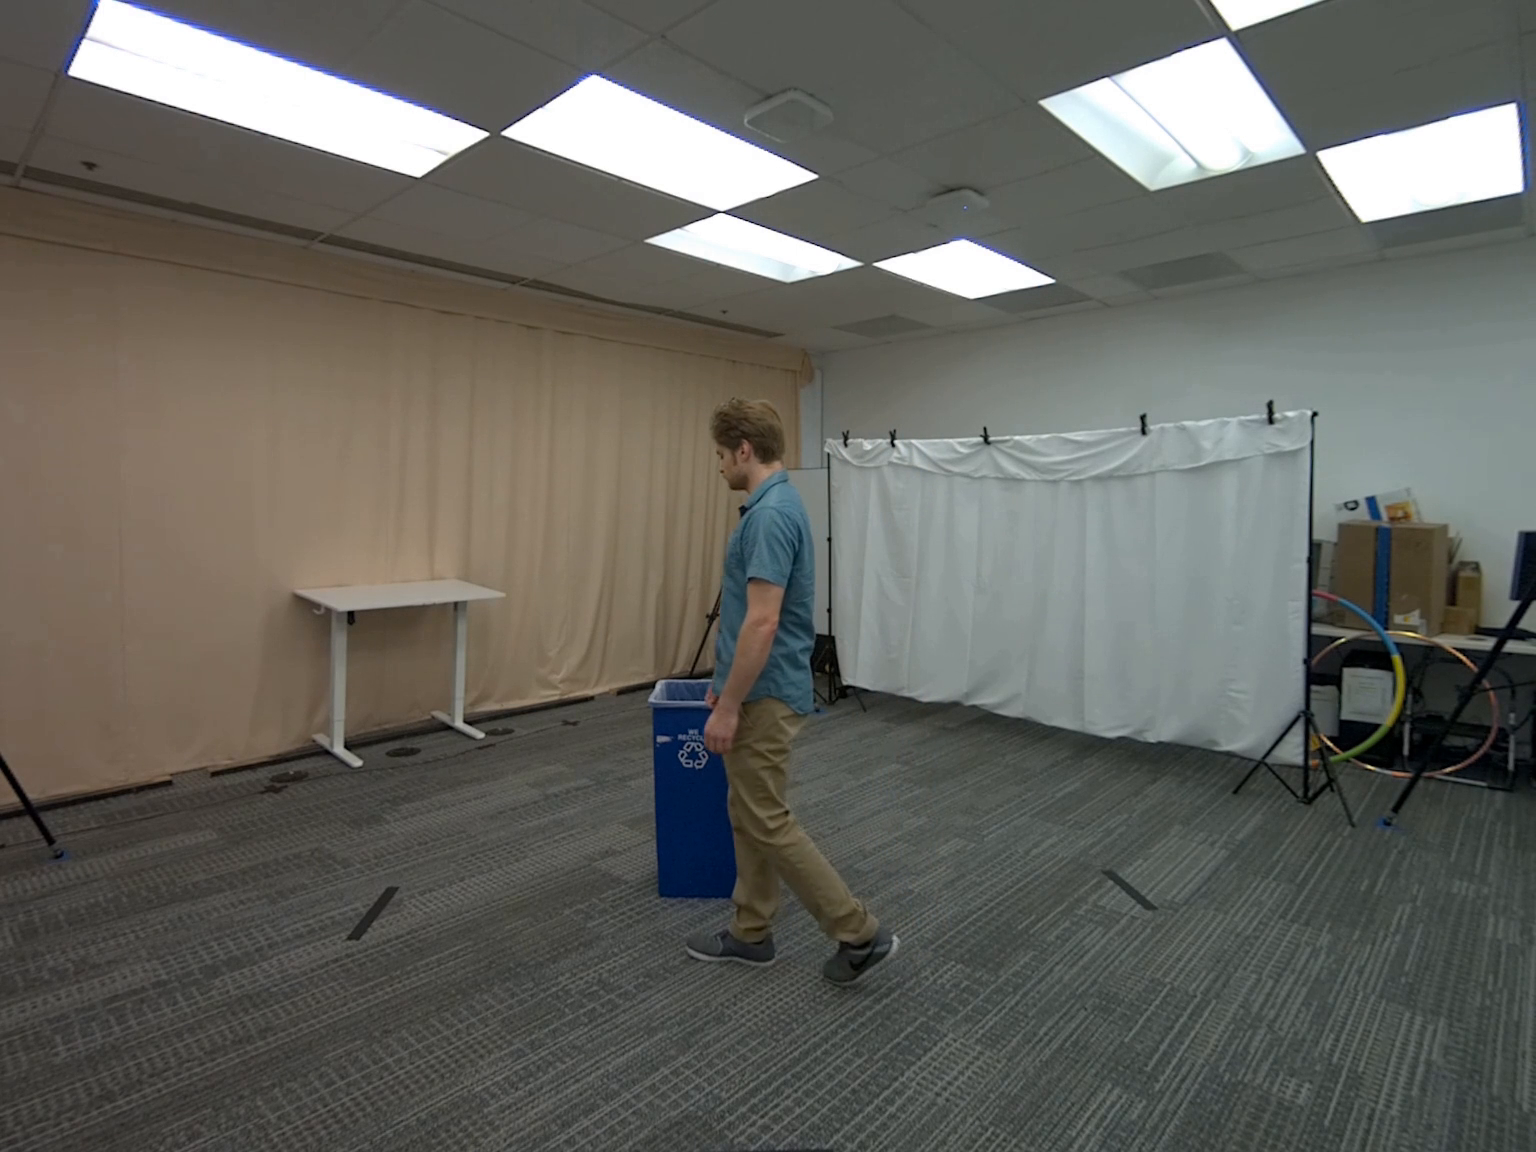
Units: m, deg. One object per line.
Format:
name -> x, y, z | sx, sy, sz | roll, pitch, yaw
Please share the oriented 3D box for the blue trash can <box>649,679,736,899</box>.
blue trash can -> -0.243, 0.781, 3.112 | 0.379, 0.712, 0.374 | 1, 3, 0
